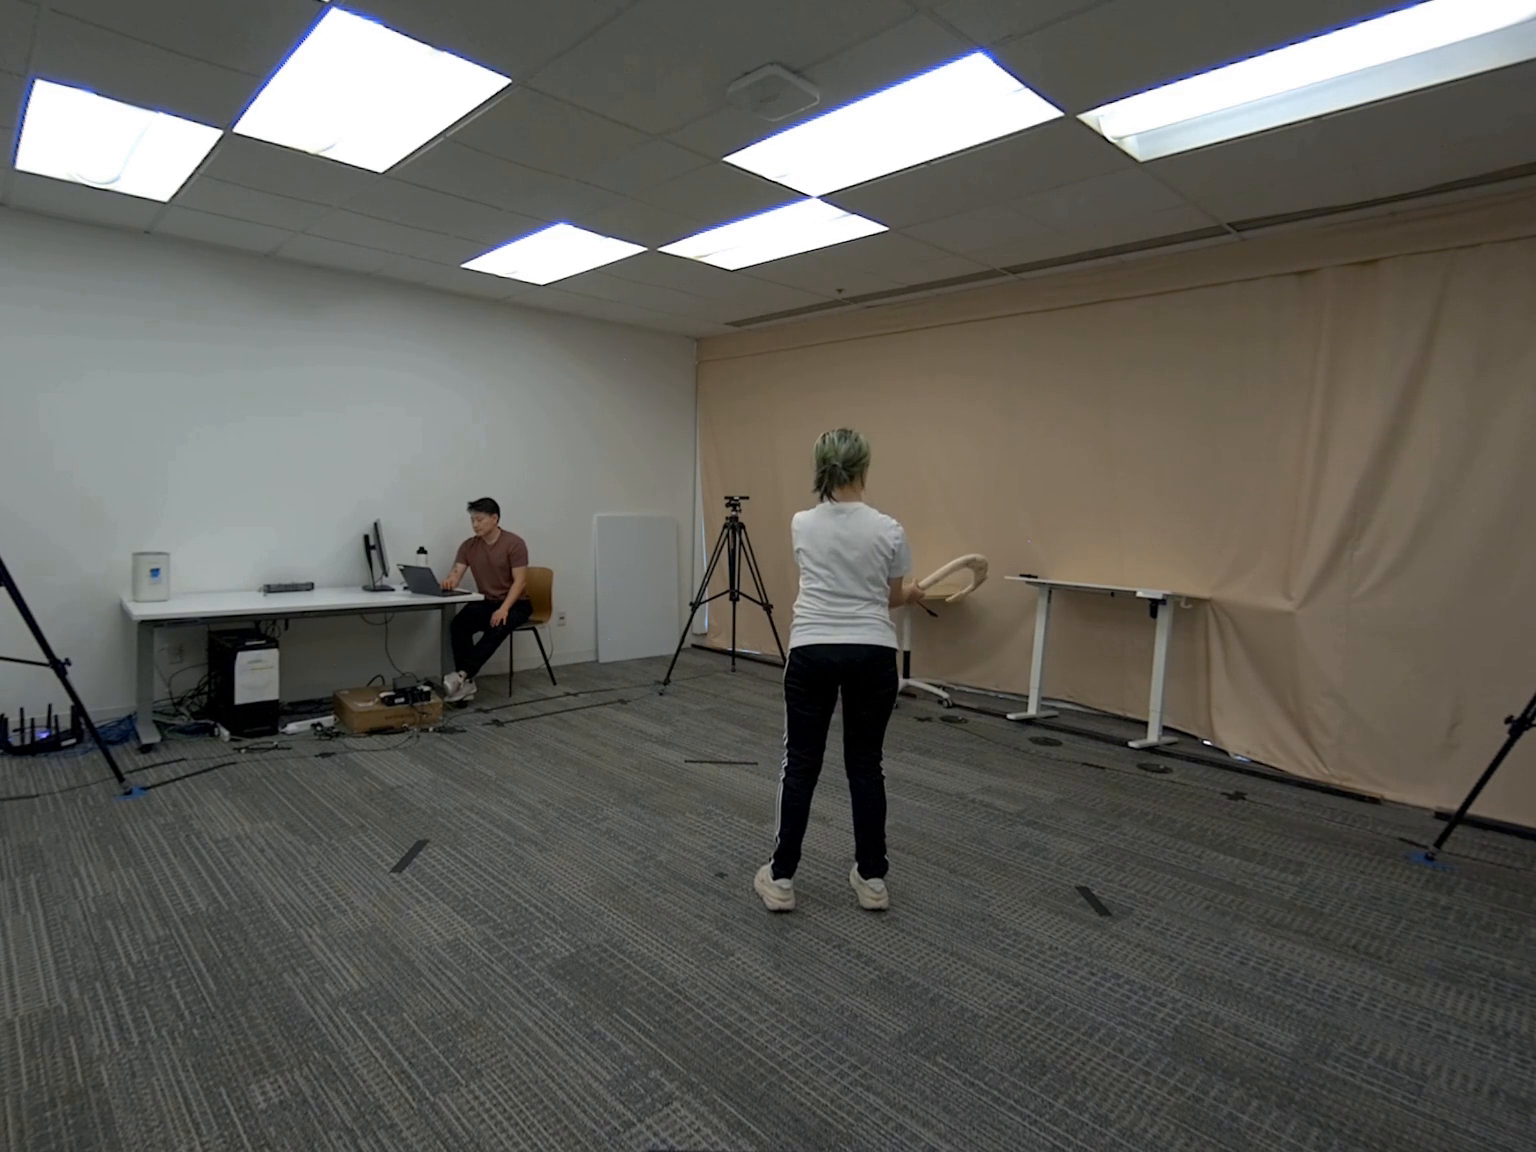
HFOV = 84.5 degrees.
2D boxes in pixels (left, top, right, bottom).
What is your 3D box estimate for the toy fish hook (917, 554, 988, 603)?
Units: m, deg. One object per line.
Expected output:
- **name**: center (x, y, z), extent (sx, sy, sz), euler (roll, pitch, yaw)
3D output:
- **toy fish hook**: center (0.642, 0.078, 3.361), extent (0.504, 0.219, 0.050), euler (-22, 35, -8)
